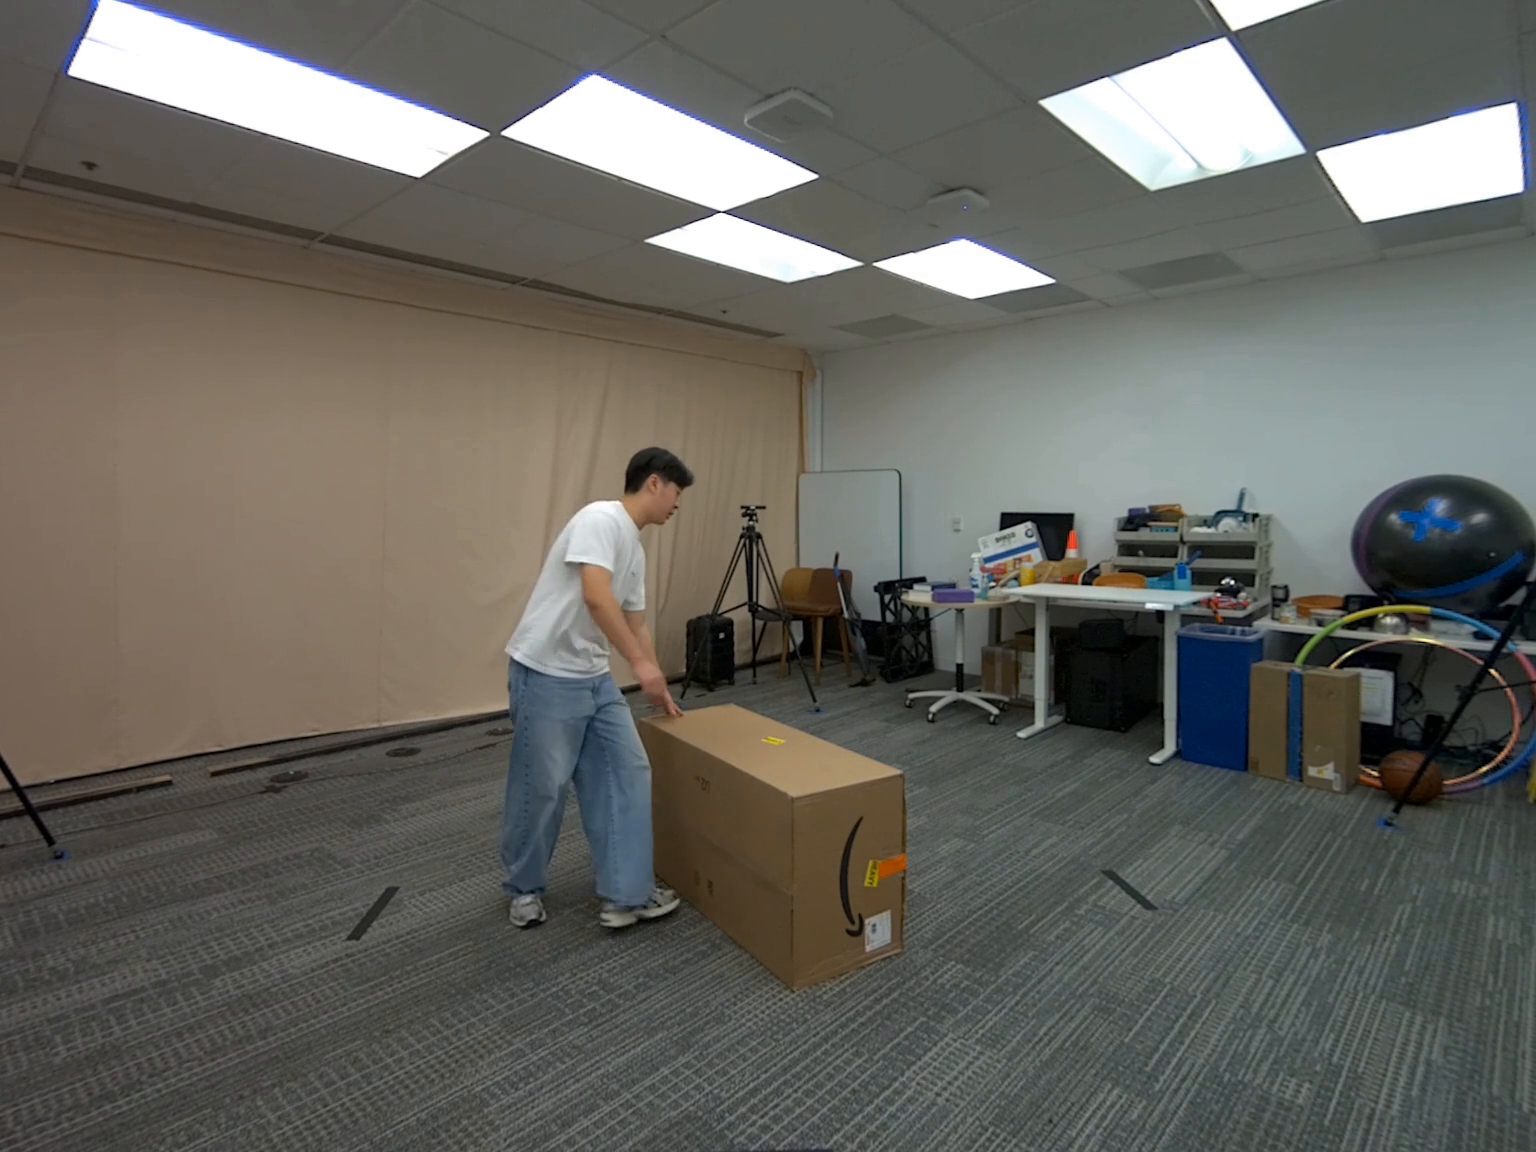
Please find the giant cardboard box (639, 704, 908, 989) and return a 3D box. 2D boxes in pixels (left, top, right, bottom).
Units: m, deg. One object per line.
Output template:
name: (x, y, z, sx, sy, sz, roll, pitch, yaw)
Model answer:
giant cardboard box: (-0.030, 0.860, 2.938, 0.414, 0.576, 1.057, -3, 5, -32)
